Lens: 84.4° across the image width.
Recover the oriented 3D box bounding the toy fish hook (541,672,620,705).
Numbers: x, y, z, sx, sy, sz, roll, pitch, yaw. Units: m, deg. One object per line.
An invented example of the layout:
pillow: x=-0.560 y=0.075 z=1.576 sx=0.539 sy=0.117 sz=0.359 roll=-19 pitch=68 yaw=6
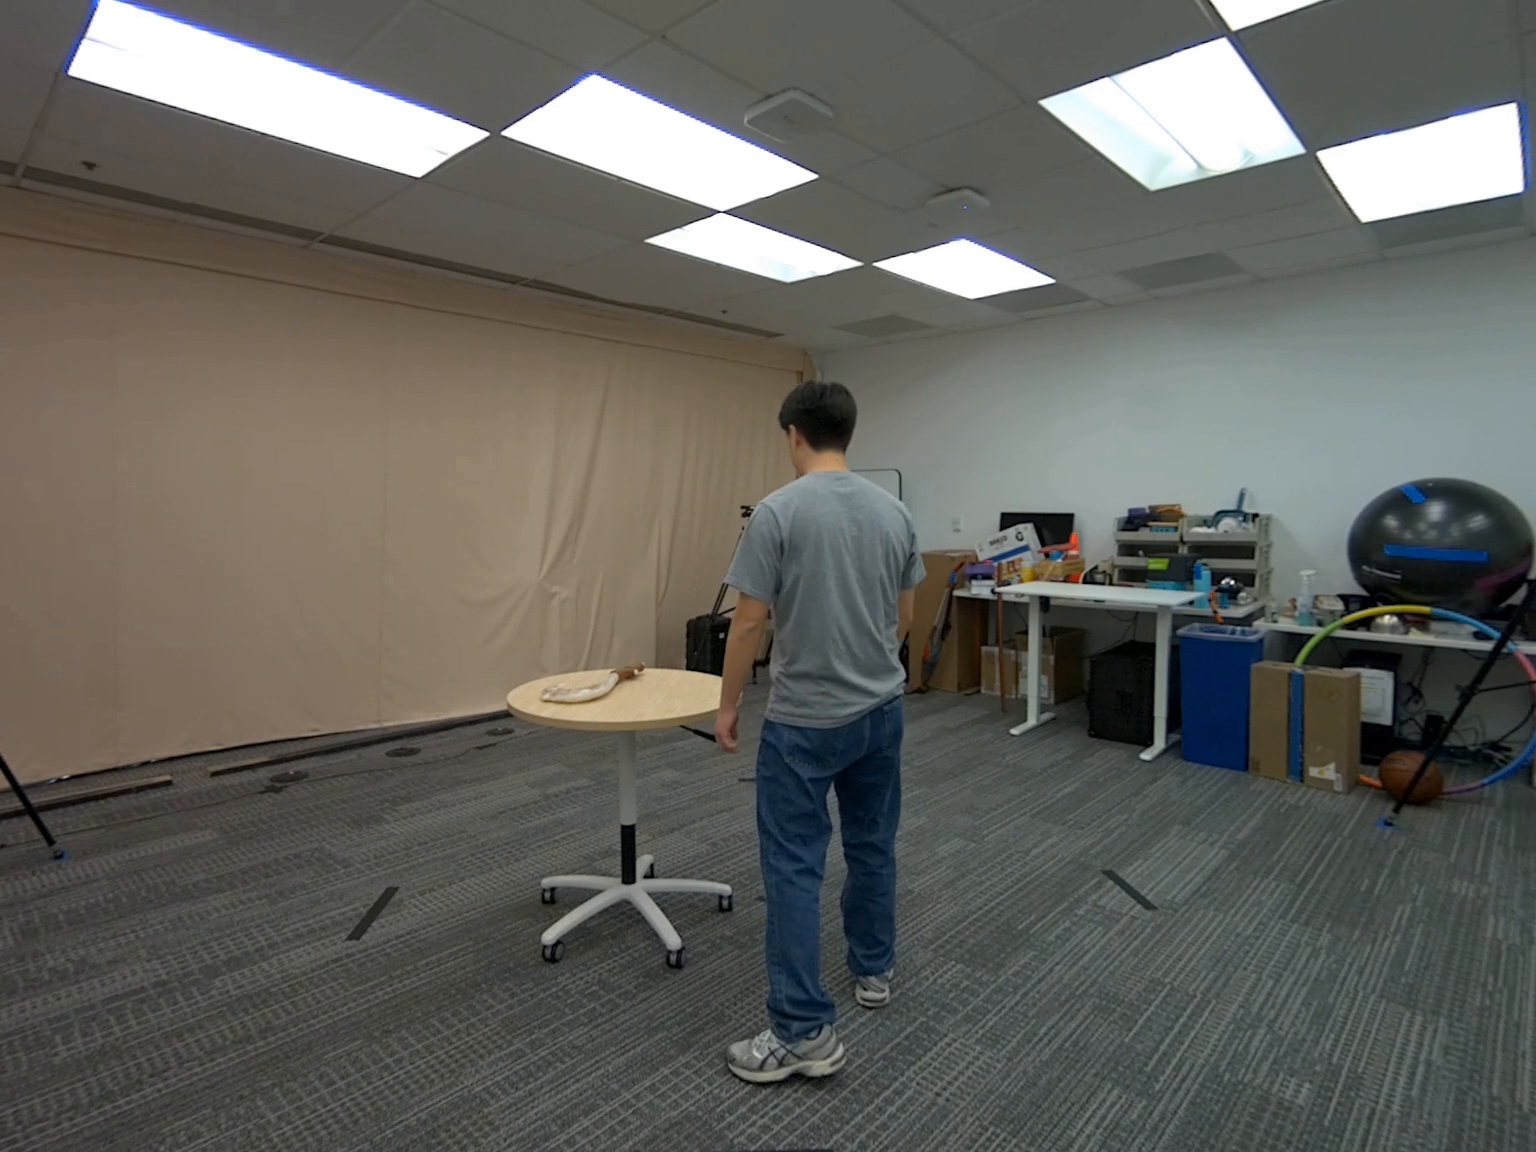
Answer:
toy fish hook: x=-0.586 y=0.360 z=2.834 sx=0.229 sy=0.048 sz=0.498 roll=2 pitch=6 yaw=17
